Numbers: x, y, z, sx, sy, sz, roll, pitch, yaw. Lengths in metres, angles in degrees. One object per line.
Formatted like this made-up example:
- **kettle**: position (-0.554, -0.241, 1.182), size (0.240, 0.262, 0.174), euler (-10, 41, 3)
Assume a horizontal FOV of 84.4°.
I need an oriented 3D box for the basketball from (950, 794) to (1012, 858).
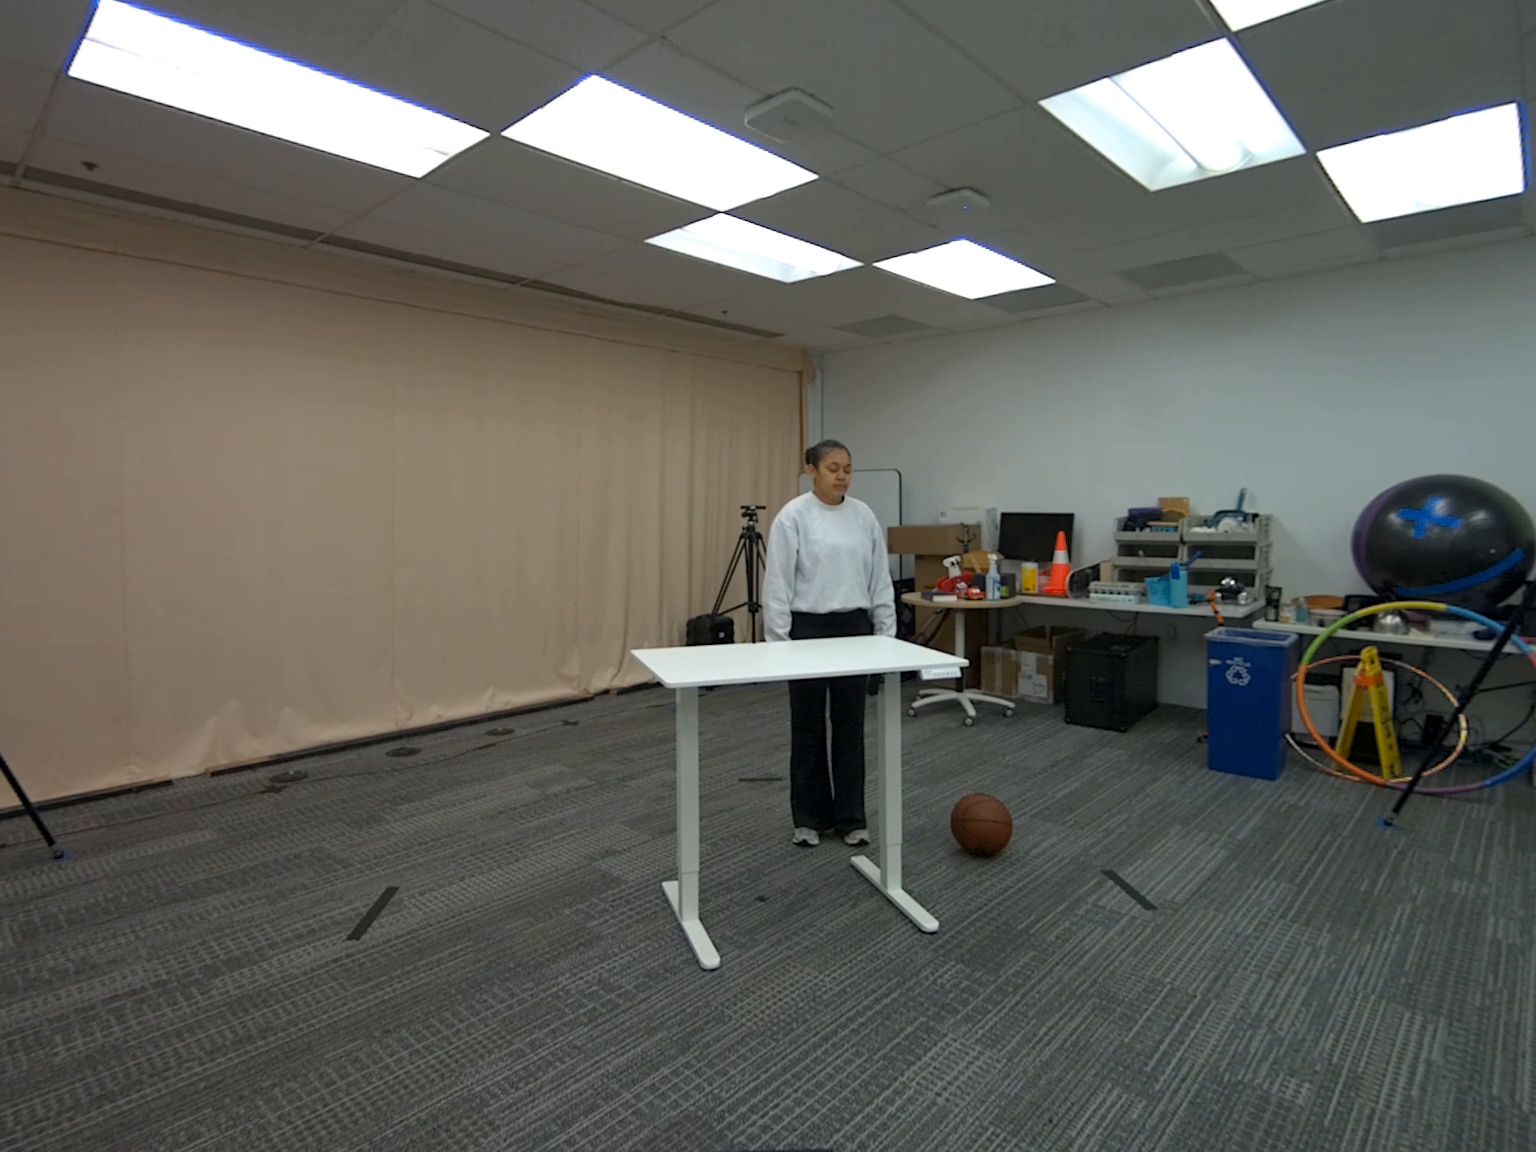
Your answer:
- **basketball**: position (0.857, 0.992, 3.368), size (0.236, 0.235, 0.237), euler (0, 4, -2)
